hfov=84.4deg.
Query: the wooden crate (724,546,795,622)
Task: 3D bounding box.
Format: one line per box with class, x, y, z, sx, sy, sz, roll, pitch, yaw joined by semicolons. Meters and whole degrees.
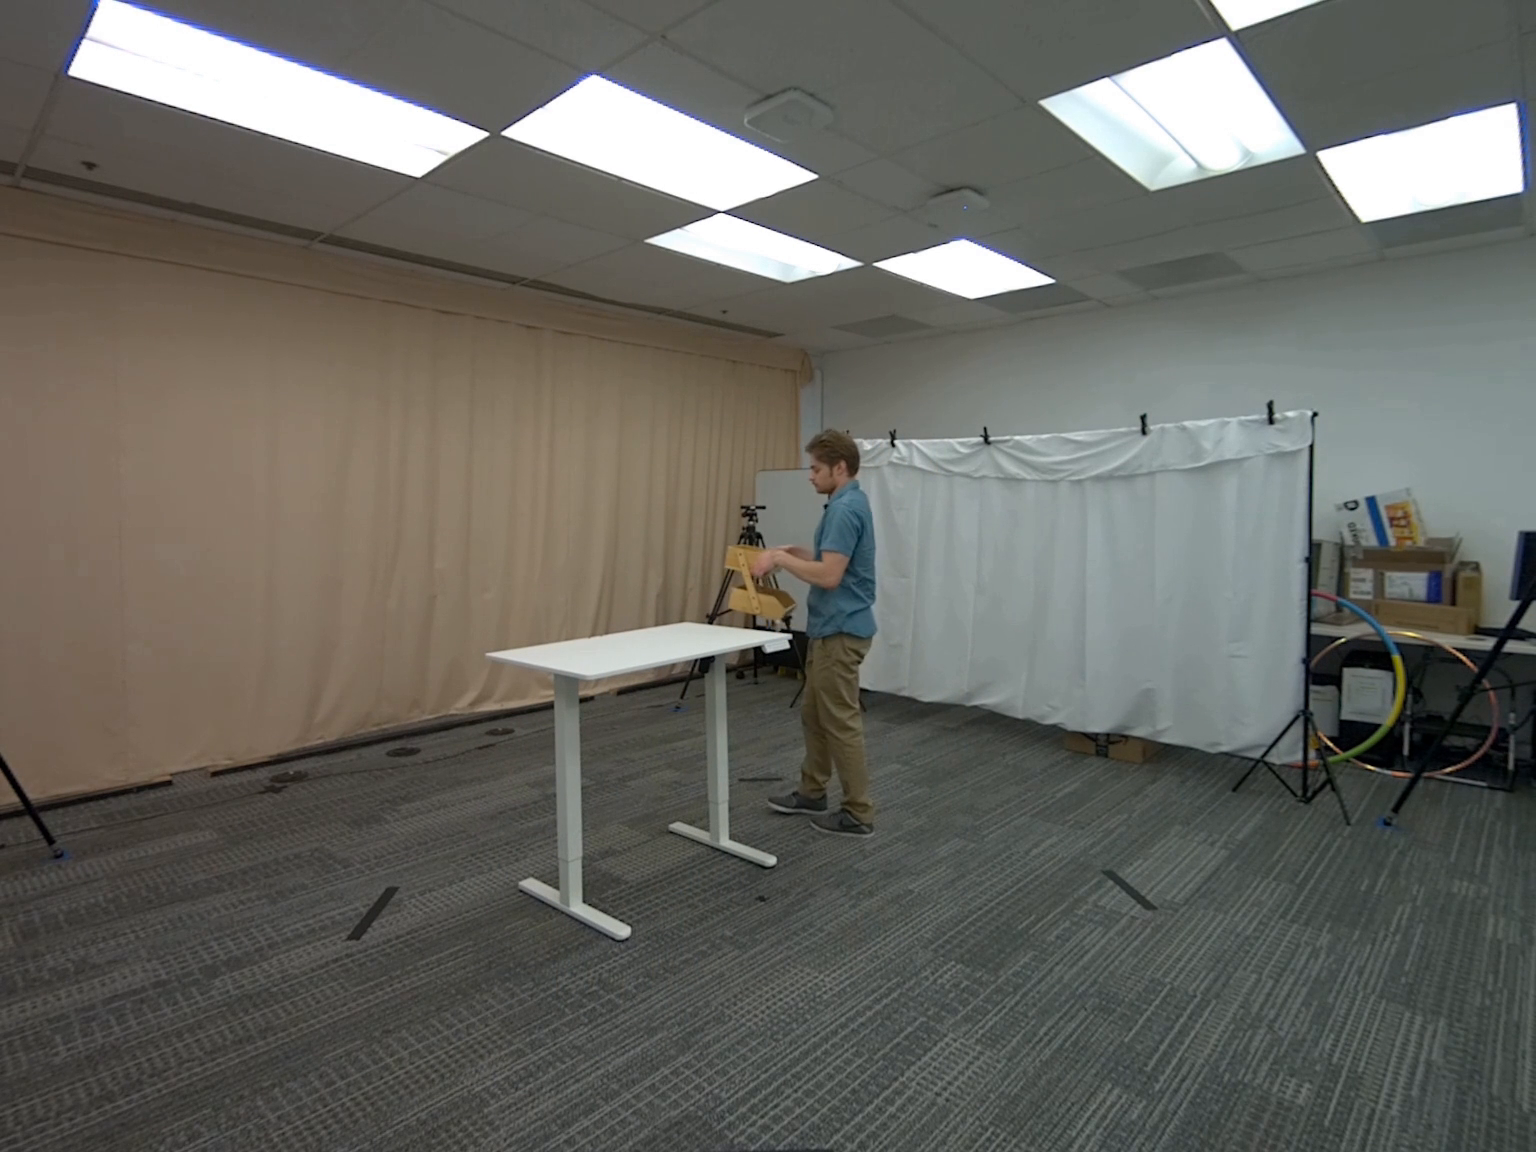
wooden crate;-0.013;0.021;3.717;0.306;0.273;0.320;11;5;11
